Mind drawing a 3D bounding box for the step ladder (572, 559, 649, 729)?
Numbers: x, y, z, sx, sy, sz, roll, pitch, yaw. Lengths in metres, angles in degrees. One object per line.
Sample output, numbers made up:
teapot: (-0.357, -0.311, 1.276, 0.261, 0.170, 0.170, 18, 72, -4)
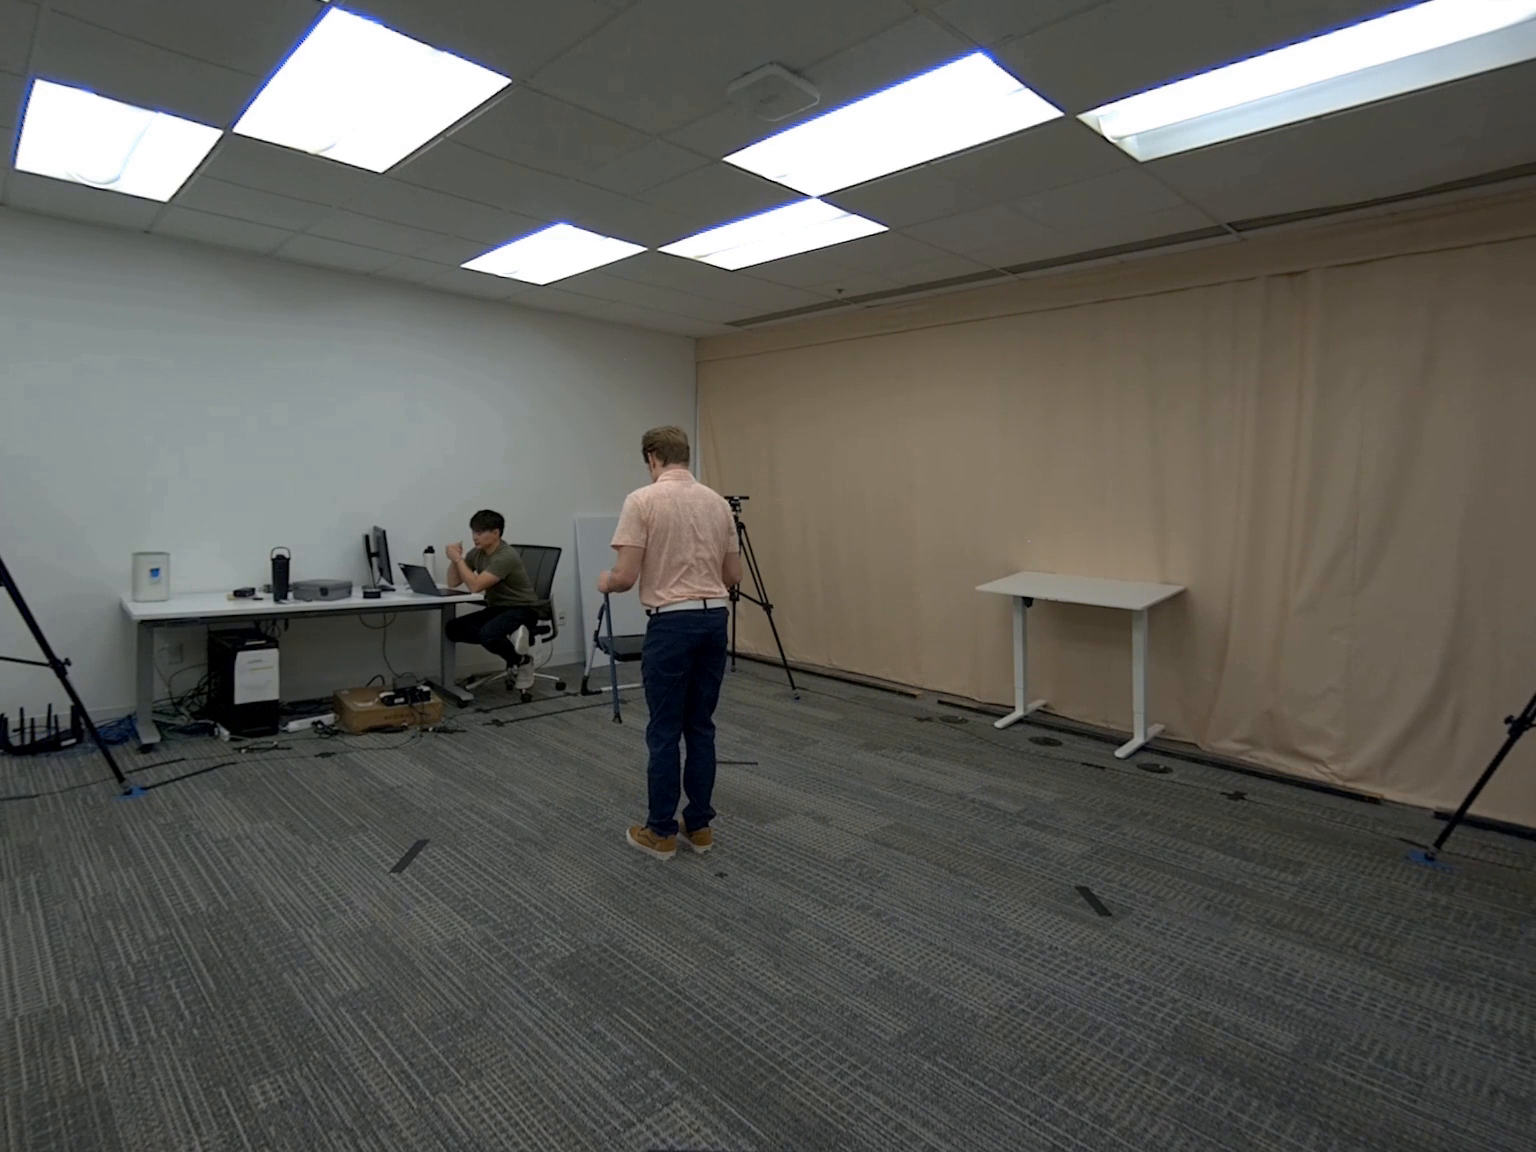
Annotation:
step ladder: (-0.513, 0.265, 3.550, 0.420, 0.603, 0.359, 2, 10, -39)
